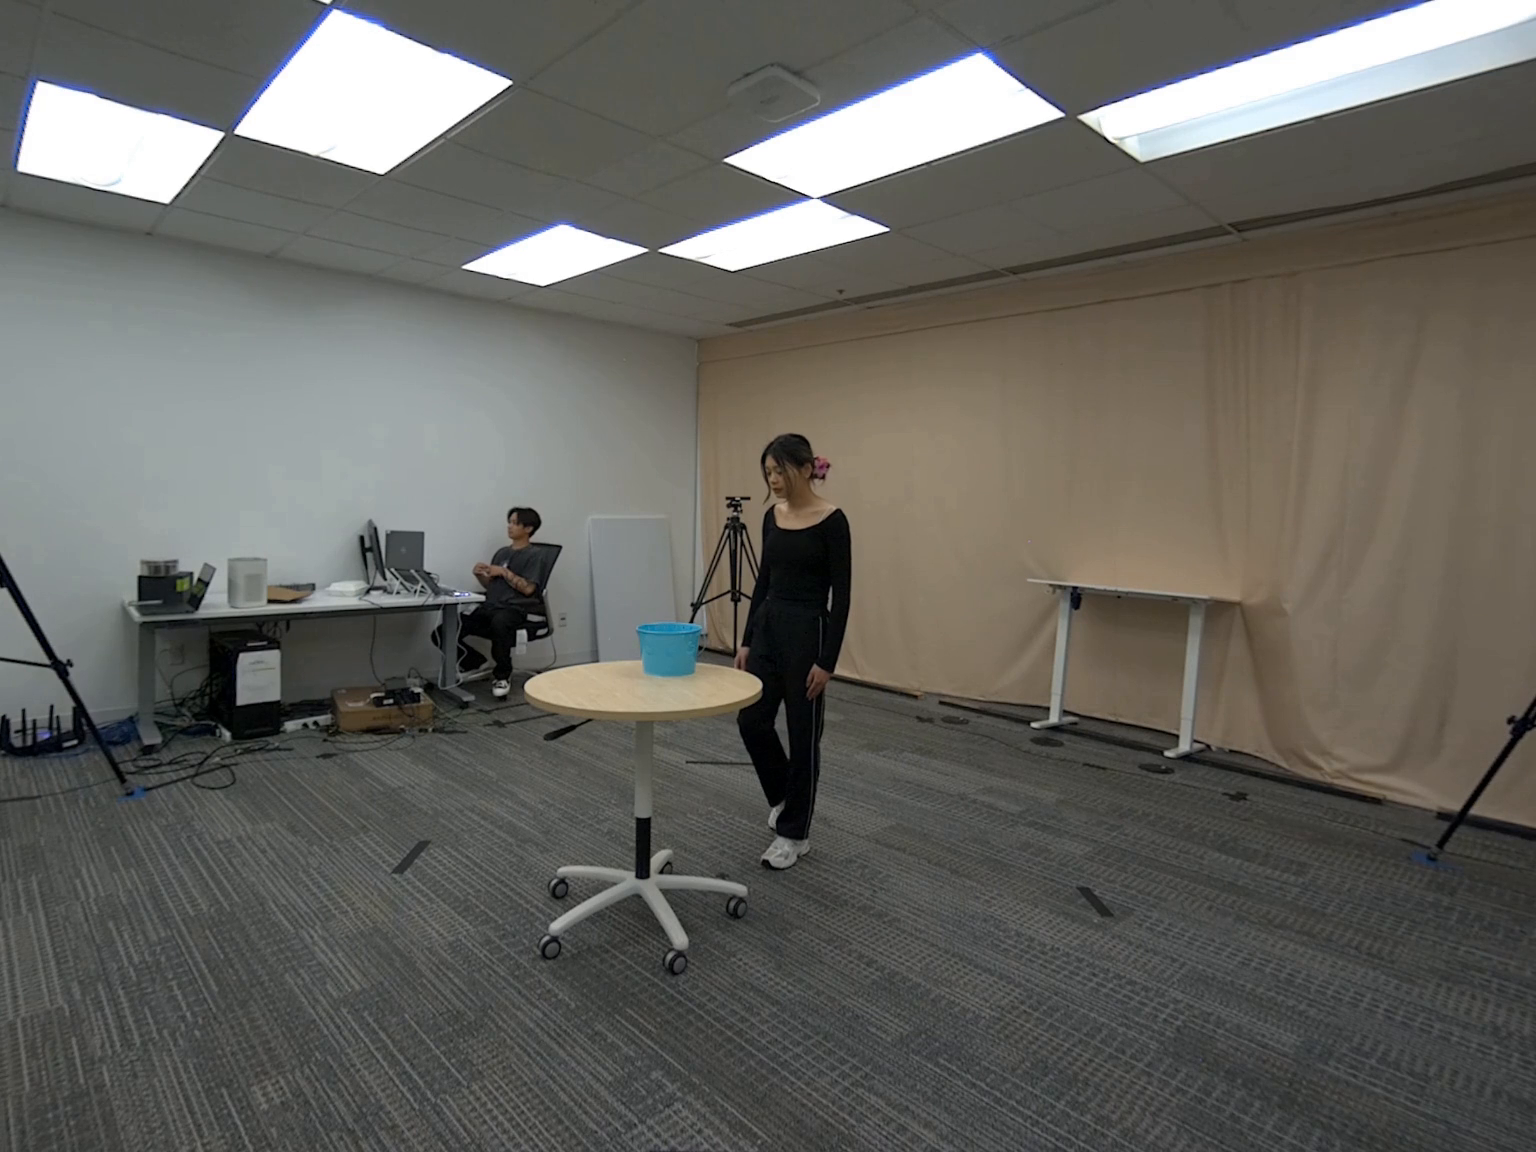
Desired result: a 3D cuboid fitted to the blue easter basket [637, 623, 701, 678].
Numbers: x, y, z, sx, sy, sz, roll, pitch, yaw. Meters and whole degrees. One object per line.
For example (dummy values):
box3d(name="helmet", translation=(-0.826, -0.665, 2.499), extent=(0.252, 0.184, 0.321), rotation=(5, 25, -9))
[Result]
box3d(name="blue easter basket", translation=(-0.351, 0.257, 2.931), extent=(0.243, 0.155, 0.244), rotation=(0, 5, -1))
